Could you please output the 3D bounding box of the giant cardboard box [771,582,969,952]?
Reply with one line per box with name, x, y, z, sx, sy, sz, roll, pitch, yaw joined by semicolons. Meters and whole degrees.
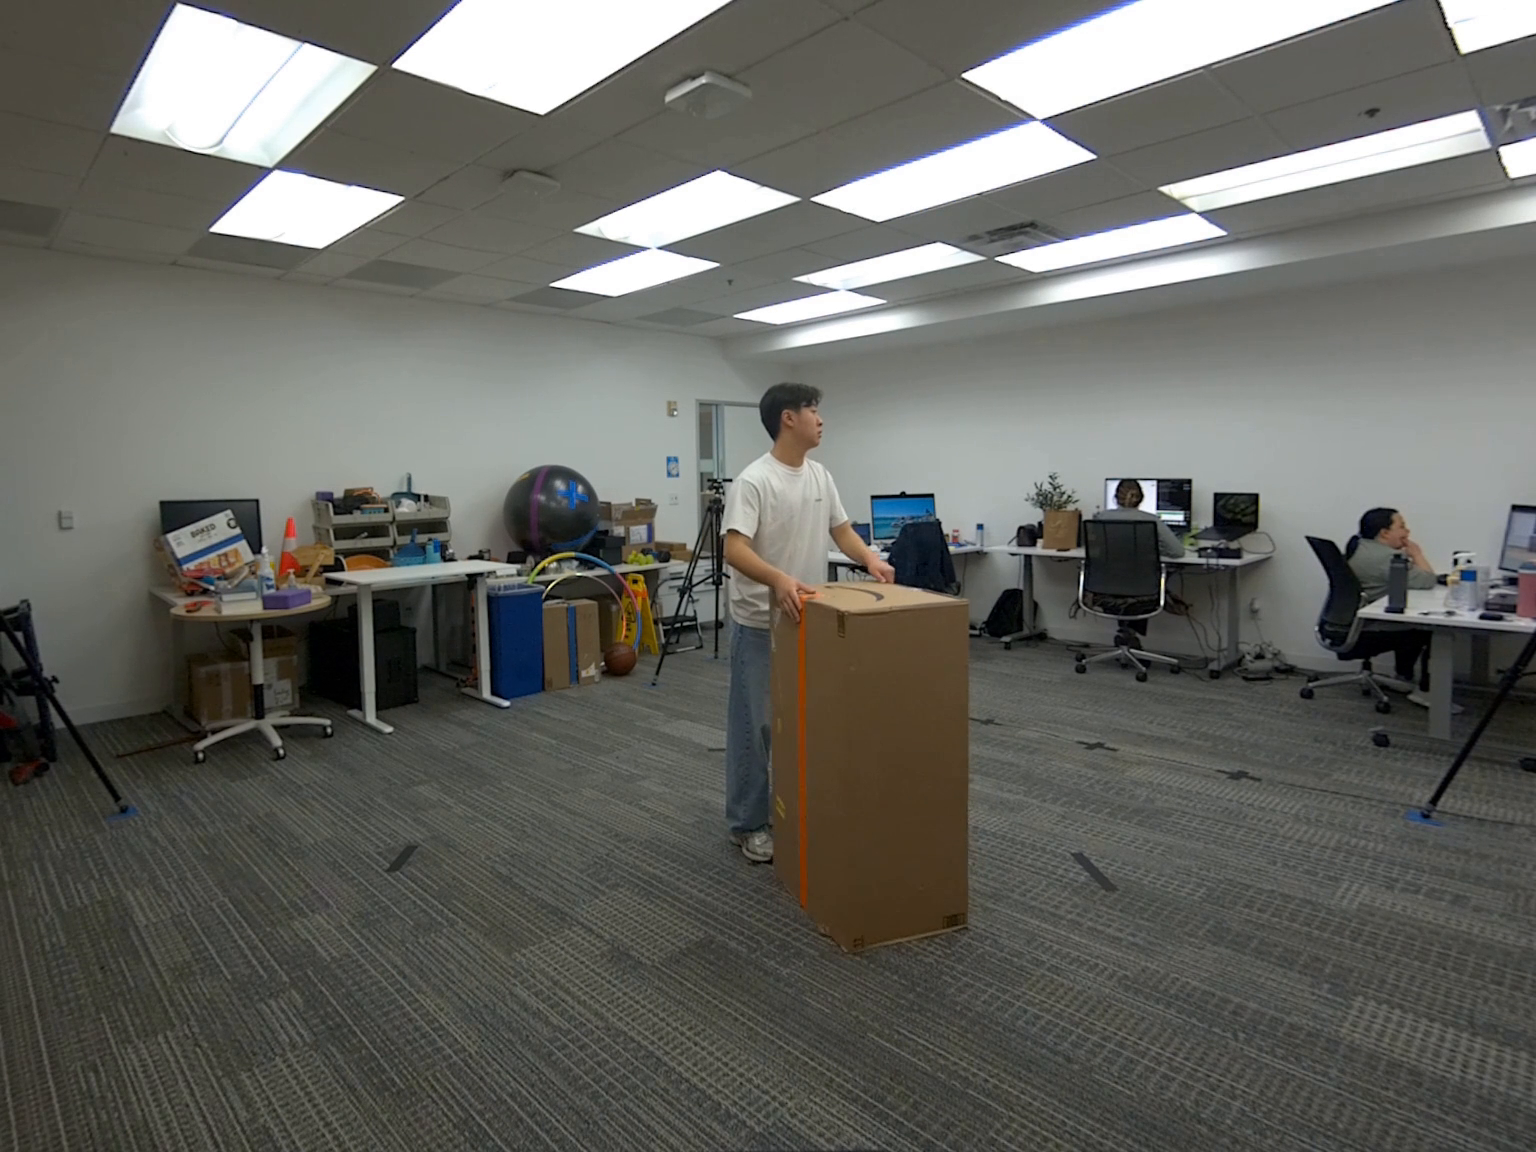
giant cardboard box;0.315;0.567;2.797;0.419;1.021;0.590;-3;6;-20
